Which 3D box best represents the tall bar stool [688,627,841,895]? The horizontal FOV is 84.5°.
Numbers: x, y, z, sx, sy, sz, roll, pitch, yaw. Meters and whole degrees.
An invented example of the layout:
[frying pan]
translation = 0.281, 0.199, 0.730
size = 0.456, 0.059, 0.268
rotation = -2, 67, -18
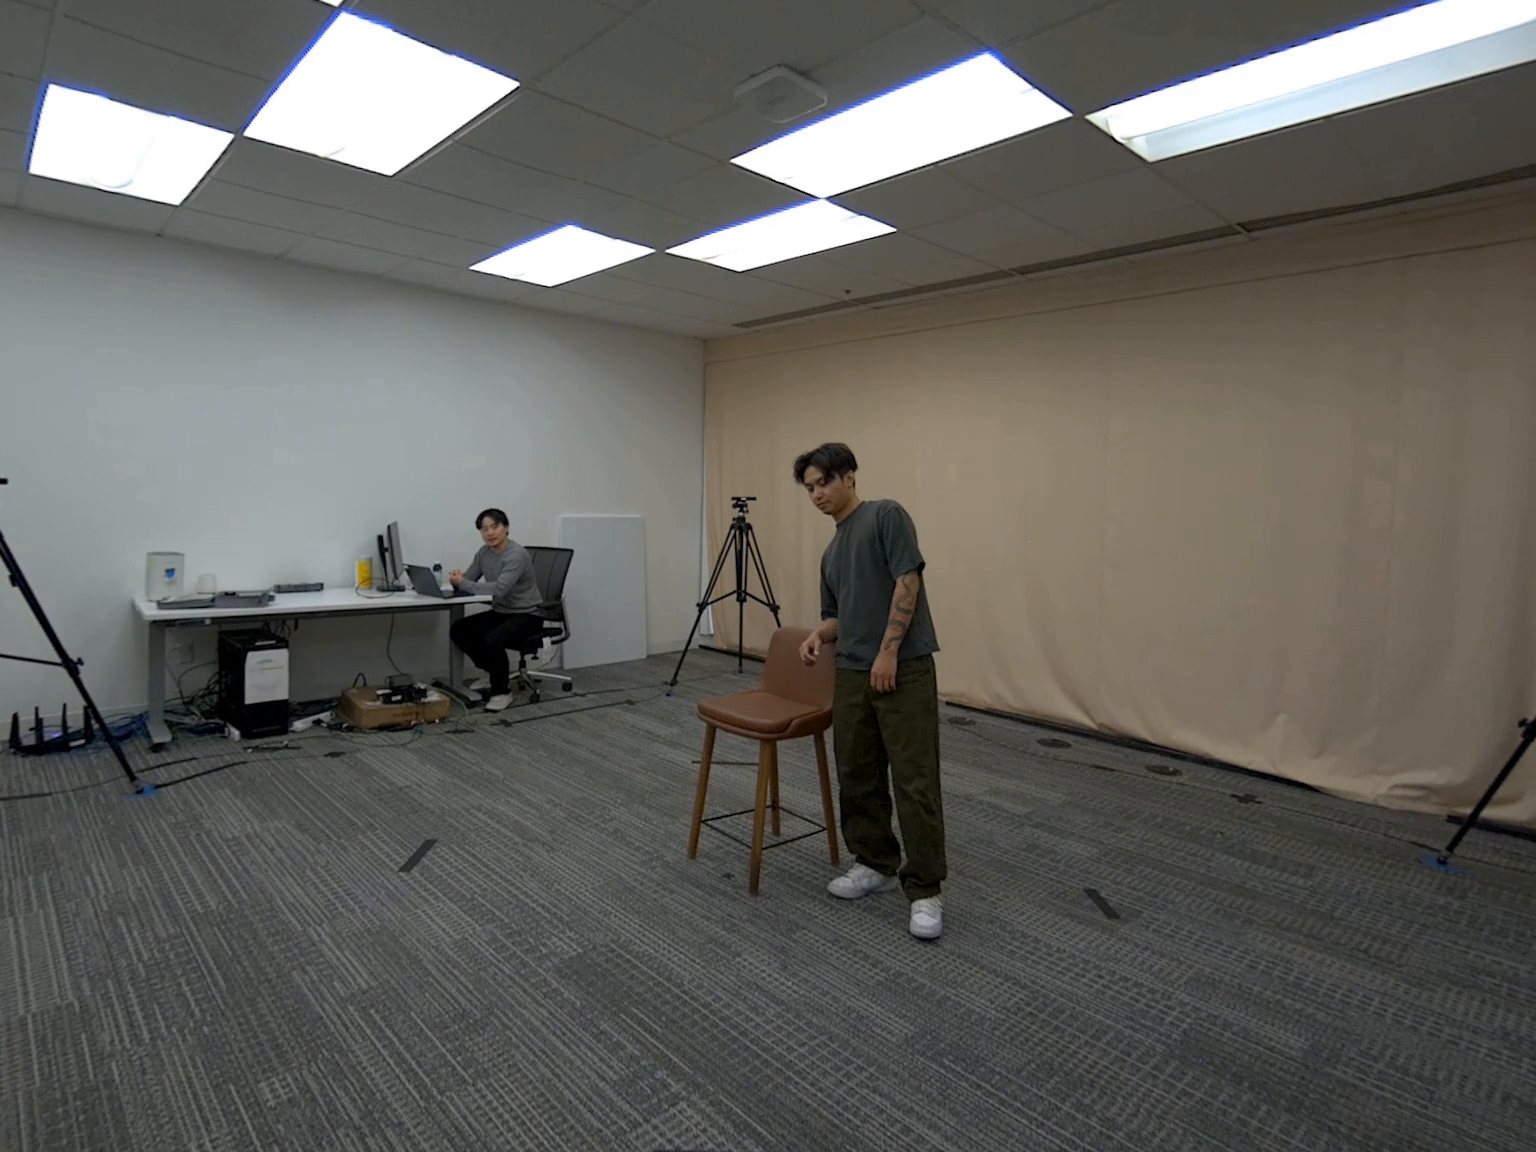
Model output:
[tall bar stool]
translation = -0.004, 0.662, 3.226
size = 0.456, 0.889, 0.468
rotation = 2, 2, -39
